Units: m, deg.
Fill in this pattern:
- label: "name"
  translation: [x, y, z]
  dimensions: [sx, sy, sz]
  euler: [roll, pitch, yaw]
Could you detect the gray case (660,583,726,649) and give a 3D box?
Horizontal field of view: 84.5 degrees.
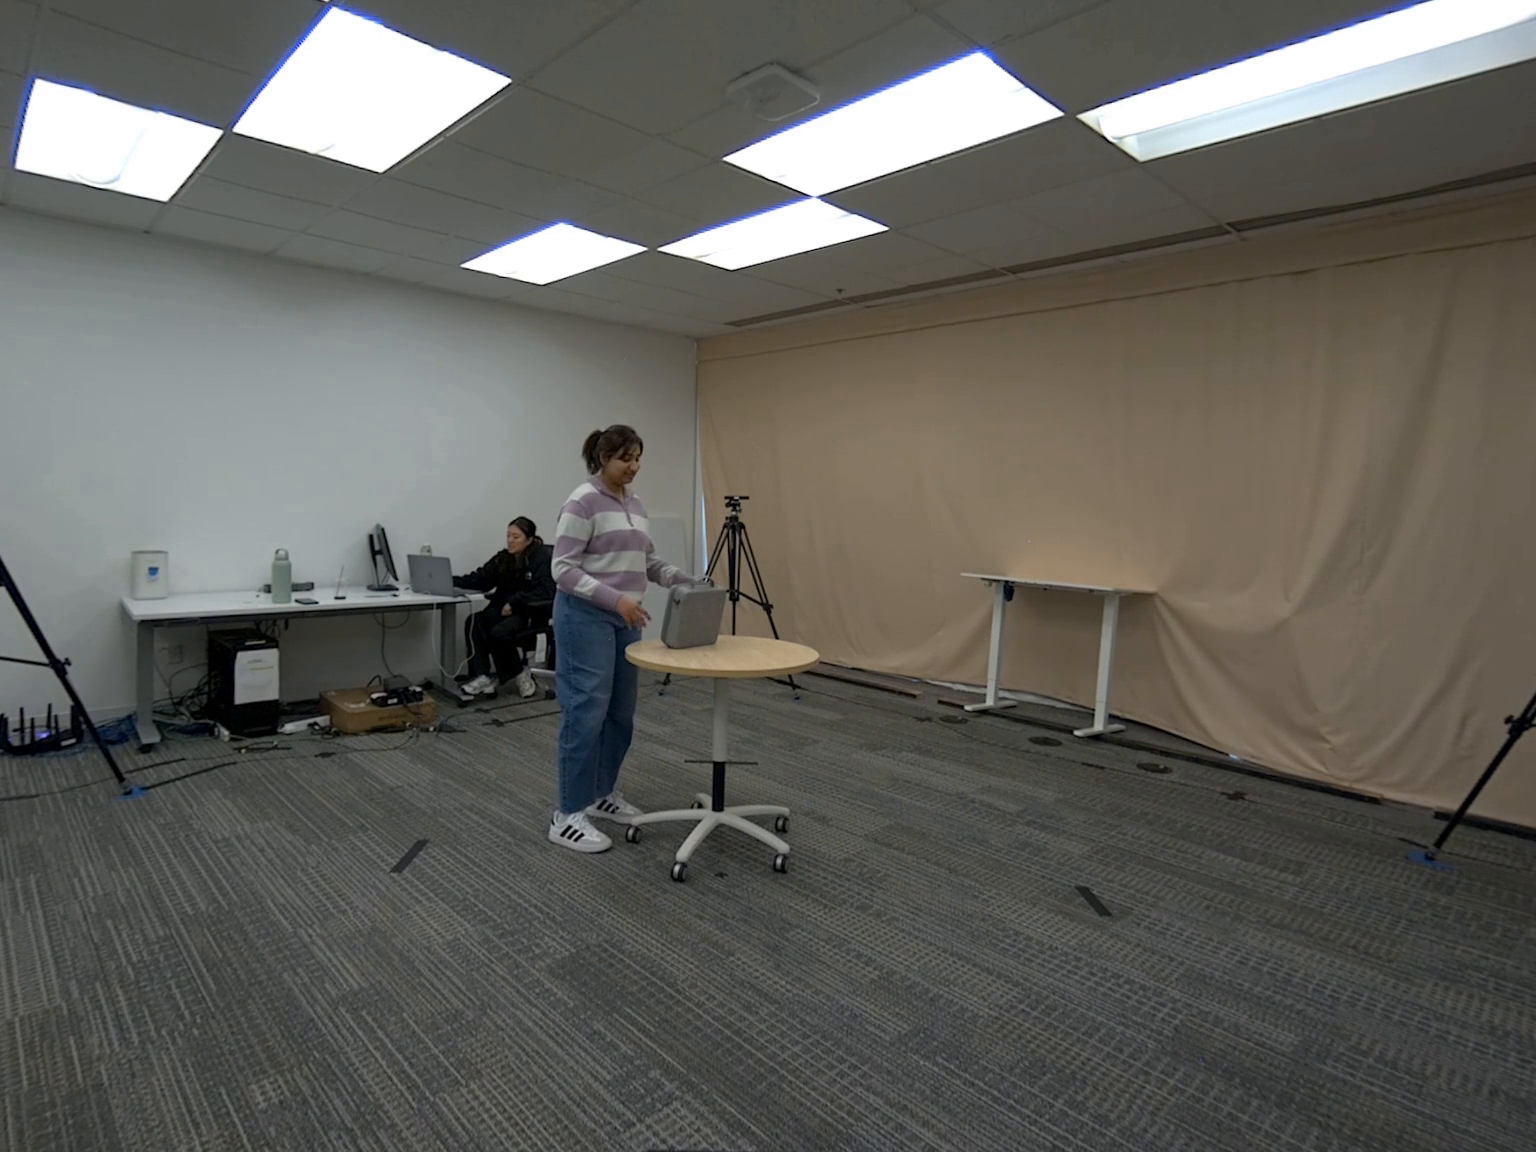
- label: "gray case"
  translation: [-0.305, 0.153, 3.415]
  dimensions: [0.107, 0.259, 0.251]
  euler: [21, 15, 39]
